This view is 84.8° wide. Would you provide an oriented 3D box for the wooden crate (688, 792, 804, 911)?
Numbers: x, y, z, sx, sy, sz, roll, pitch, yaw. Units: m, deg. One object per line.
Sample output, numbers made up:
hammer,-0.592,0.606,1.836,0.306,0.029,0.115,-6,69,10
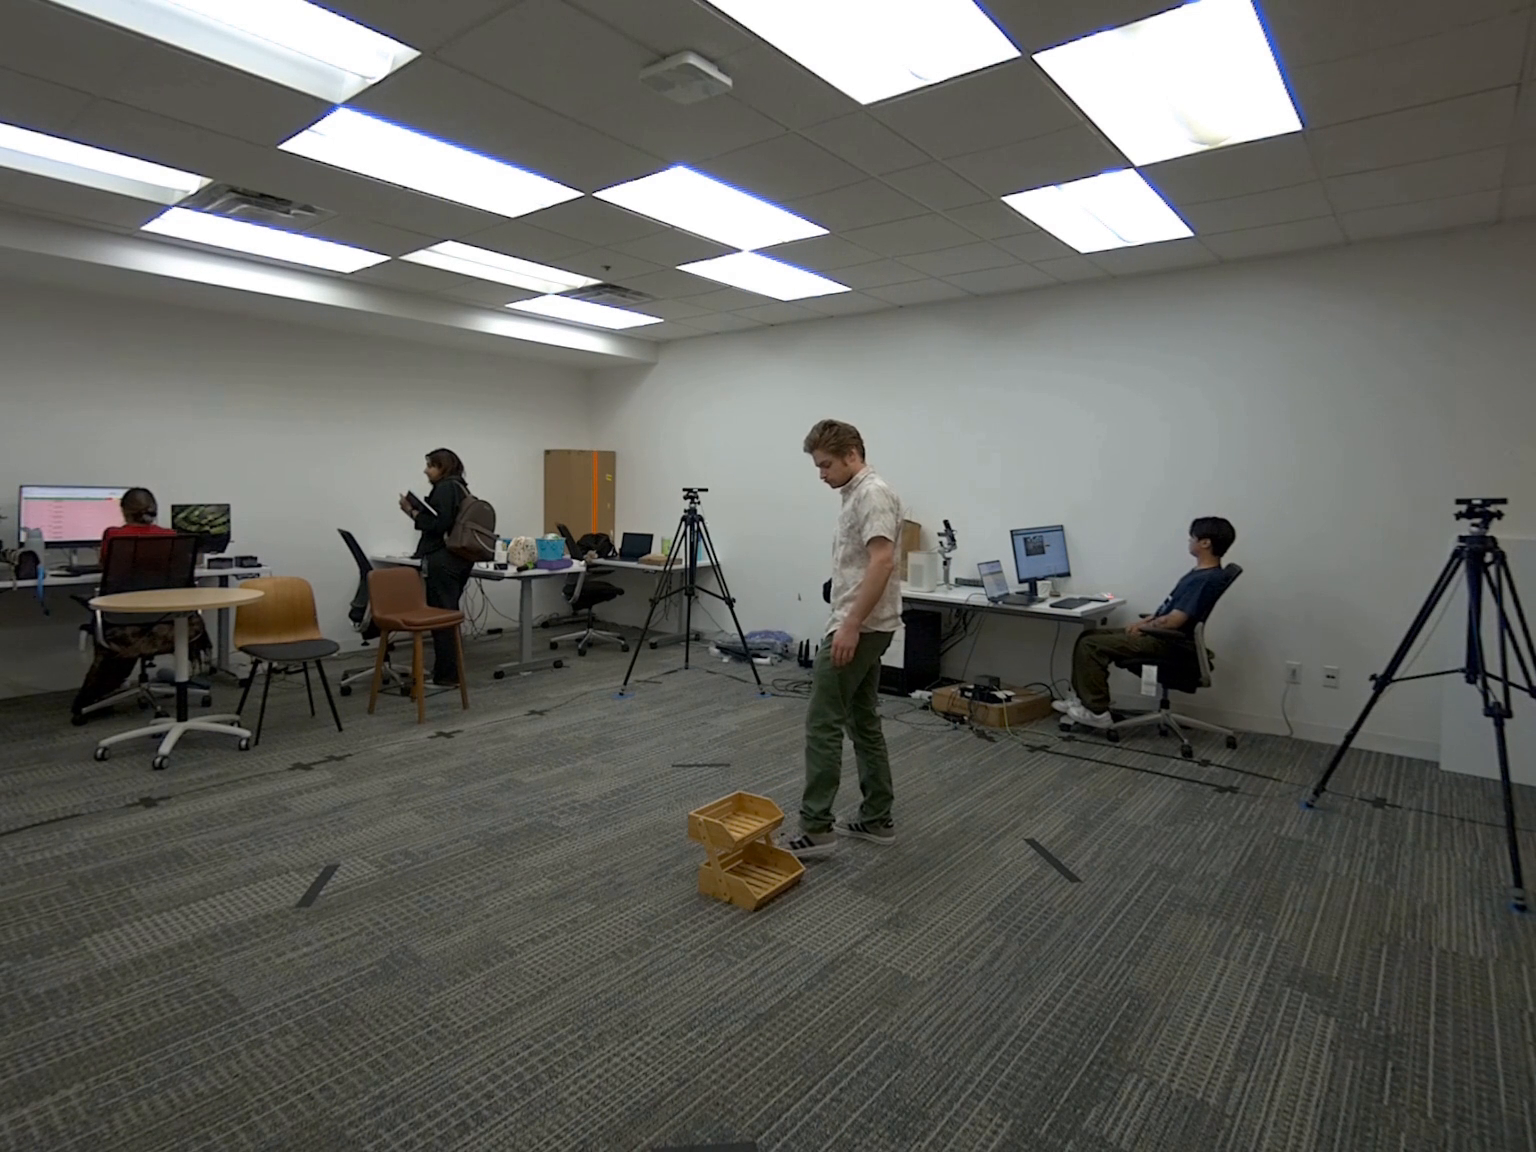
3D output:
wooden crate,-0.078,0.949,2.991,0.312,0.272,0.315,3,5,36
